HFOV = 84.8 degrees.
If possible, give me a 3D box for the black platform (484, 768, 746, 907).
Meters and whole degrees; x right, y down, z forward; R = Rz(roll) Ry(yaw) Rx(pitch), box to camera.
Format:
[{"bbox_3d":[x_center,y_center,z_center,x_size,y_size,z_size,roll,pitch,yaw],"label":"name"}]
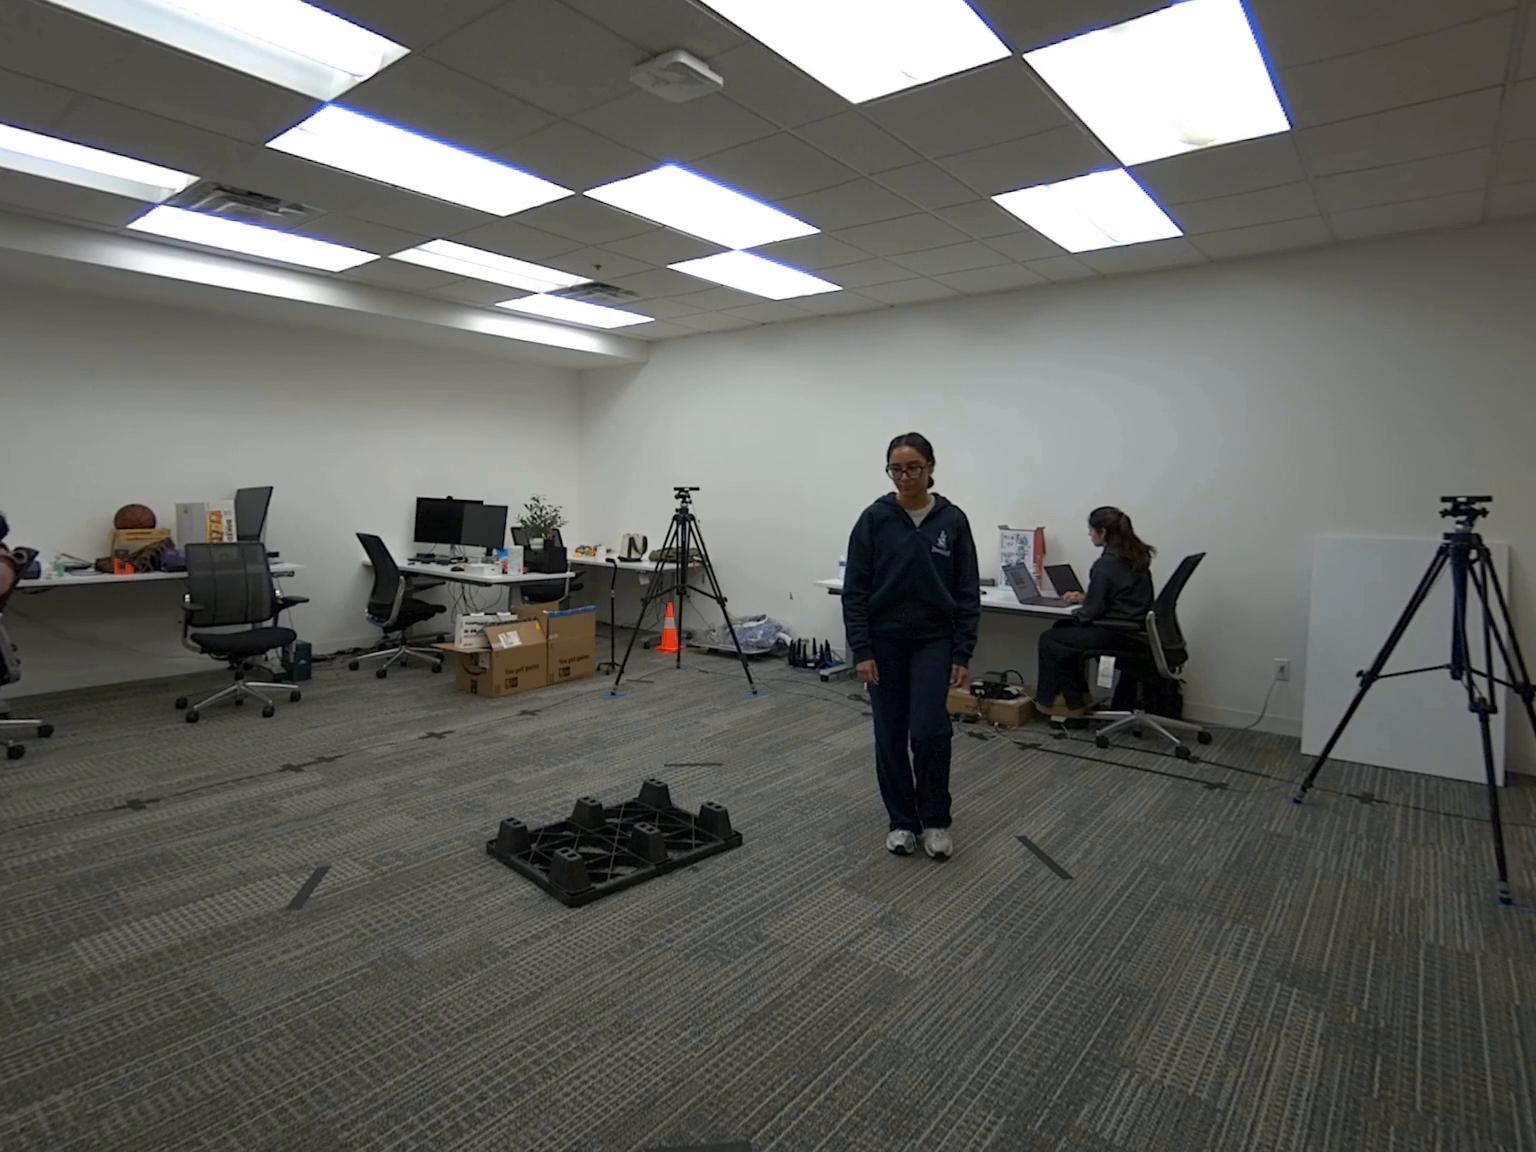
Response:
[{"bbox_3d":[-0.588,0.973,3.265,0.626,0.143,0.781,5,7,44],"label":"black platform"}]
